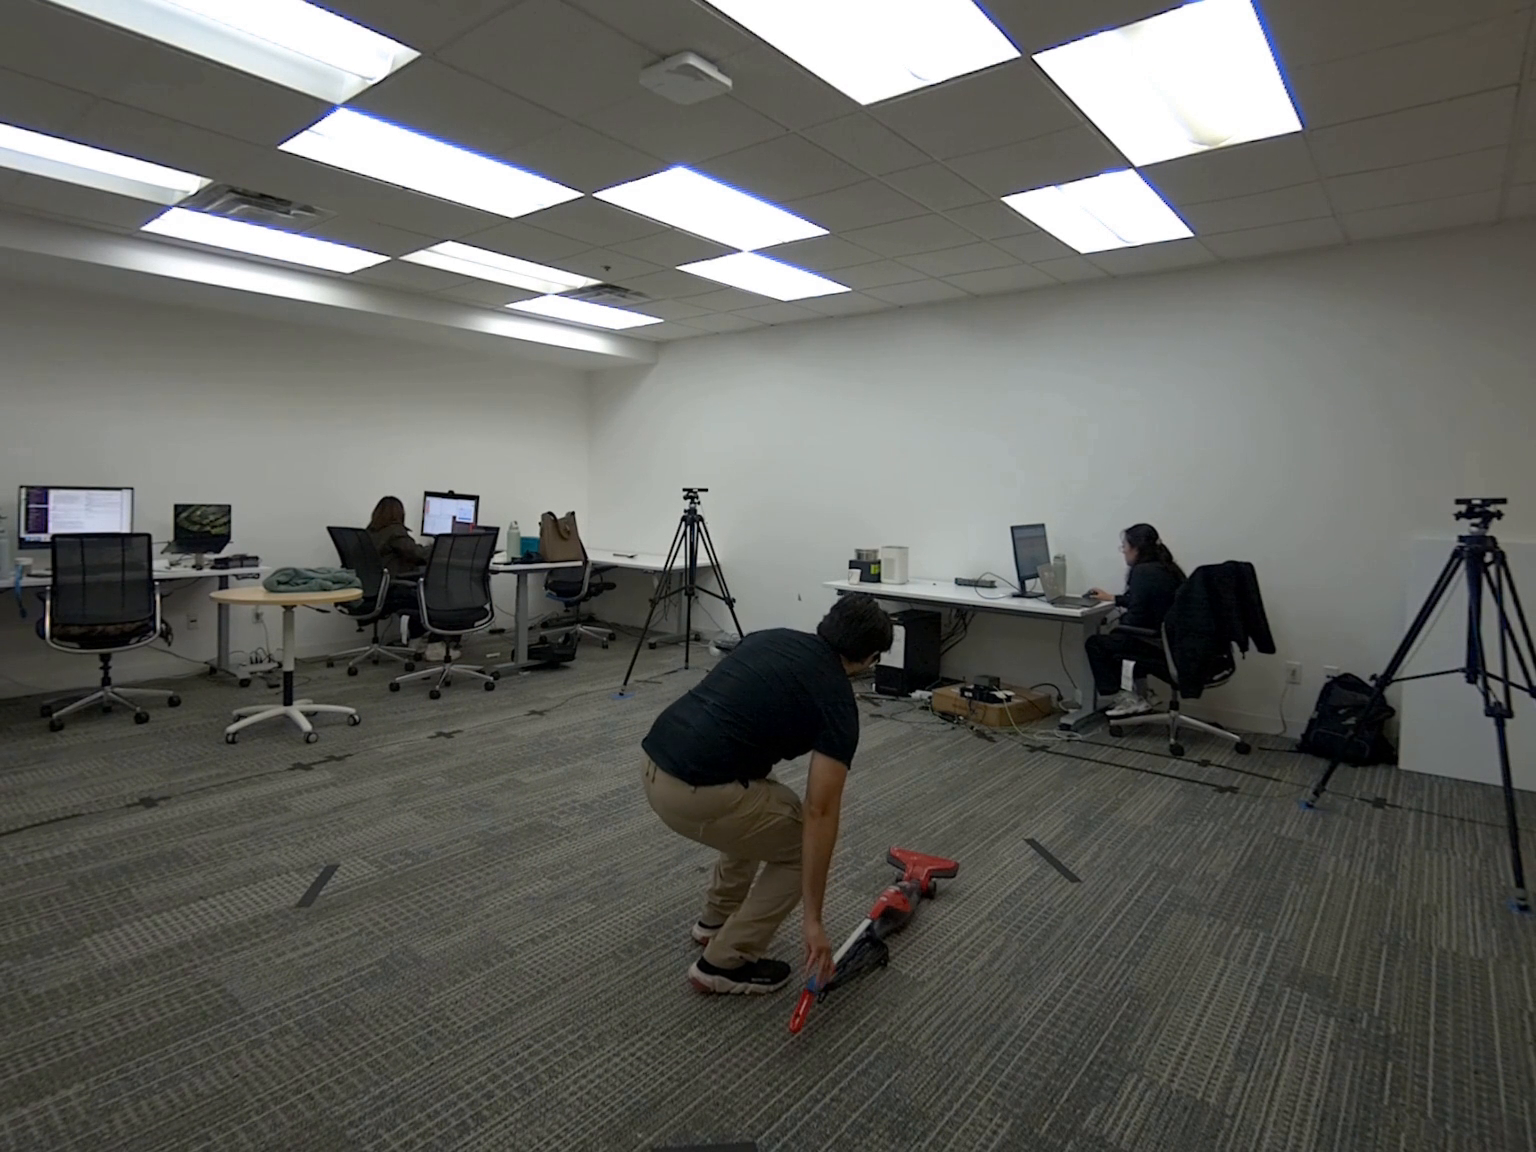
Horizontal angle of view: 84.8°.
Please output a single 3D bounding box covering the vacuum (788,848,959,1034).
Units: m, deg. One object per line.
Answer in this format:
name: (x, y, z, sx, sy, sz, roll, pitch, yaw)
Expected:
vacuum: (0.300, 1.079, 2.552, 0.259, 0.143, 1.024, 2, 5, 27)
